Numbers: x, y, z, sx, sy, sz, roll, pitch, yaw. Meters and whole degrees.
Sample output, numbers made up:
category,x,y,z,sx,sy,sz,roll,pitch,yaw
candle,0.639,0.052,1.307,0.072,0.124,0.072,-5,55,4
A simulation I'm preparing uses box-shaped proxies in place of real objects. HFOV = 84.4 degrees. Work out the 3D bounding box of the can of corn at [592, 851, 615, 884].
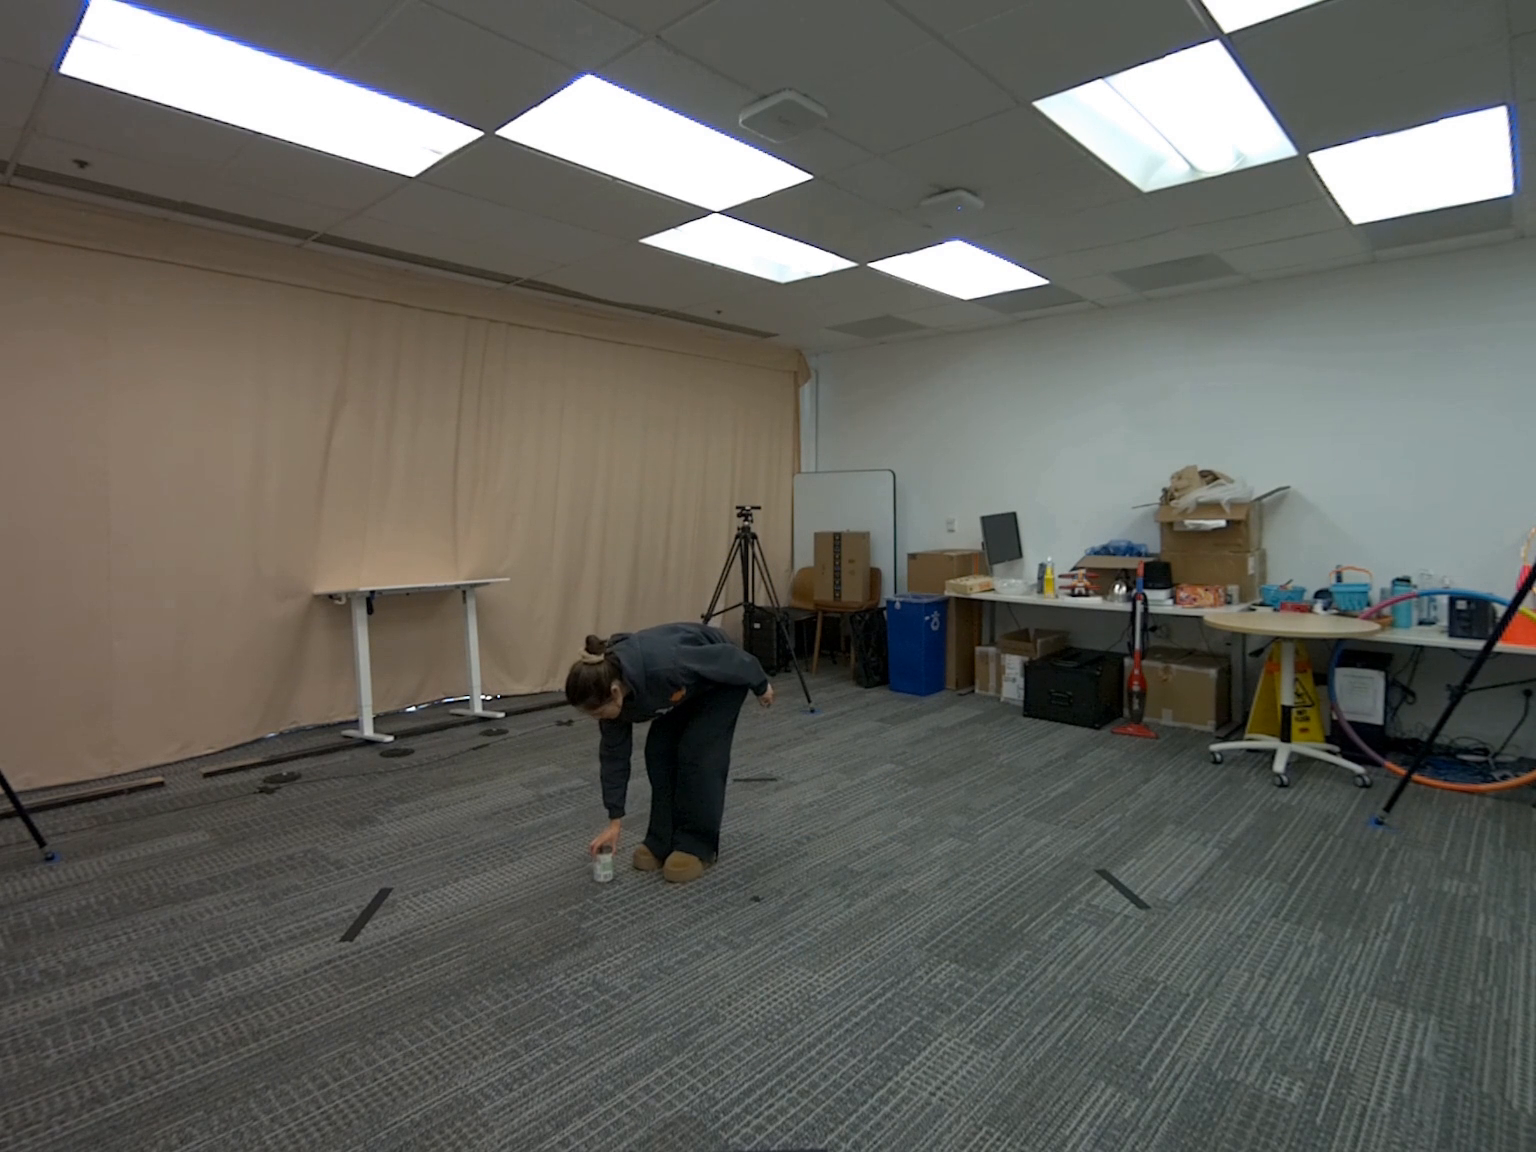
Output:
category,x,y,z,sx,sy,sz,roll,pitch,yaw
can of corn,-0.601,1.075,3.155,0.074,0.111,0.074,1,4,-2
